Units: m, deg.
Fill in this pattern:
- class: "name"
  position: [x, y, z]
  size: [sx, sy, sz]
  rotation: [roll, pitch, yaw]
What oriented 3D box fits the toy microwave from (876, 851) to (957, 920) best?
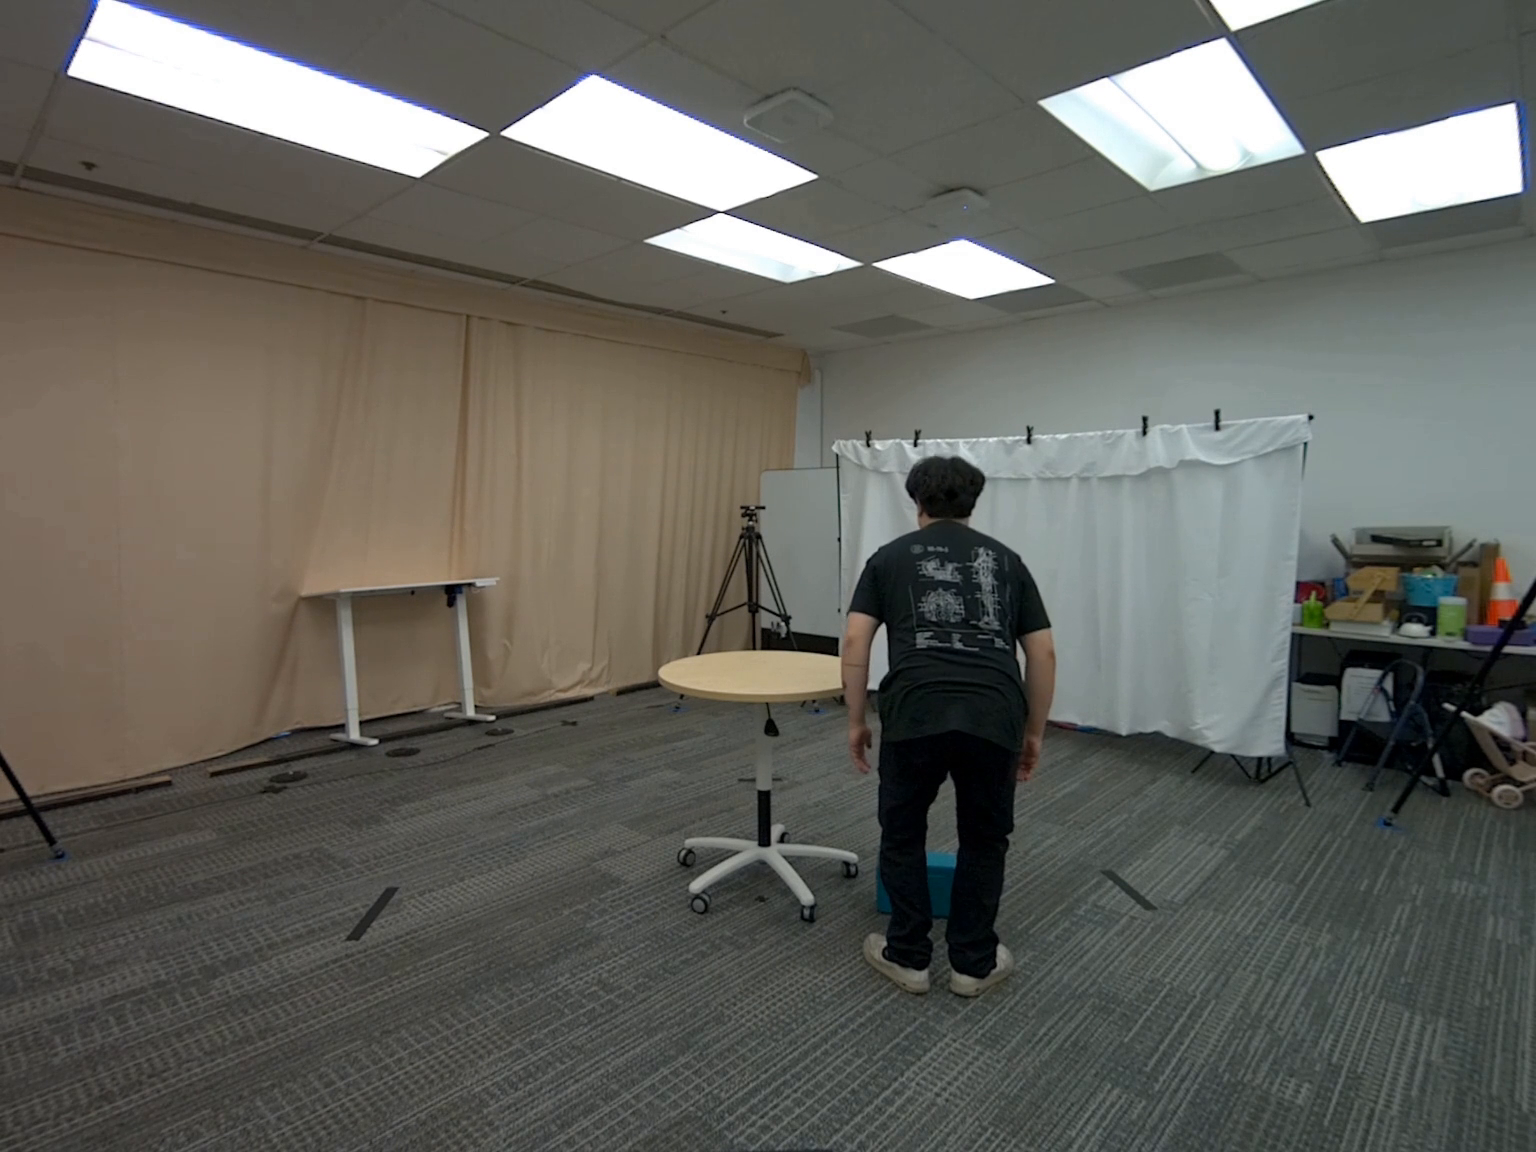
- class: "toy microwave"
  position: [0.513, 1.052, 2.912]
  size: [0.289, 0.183, 0.151]
  rotation: [1, 5, 9]
